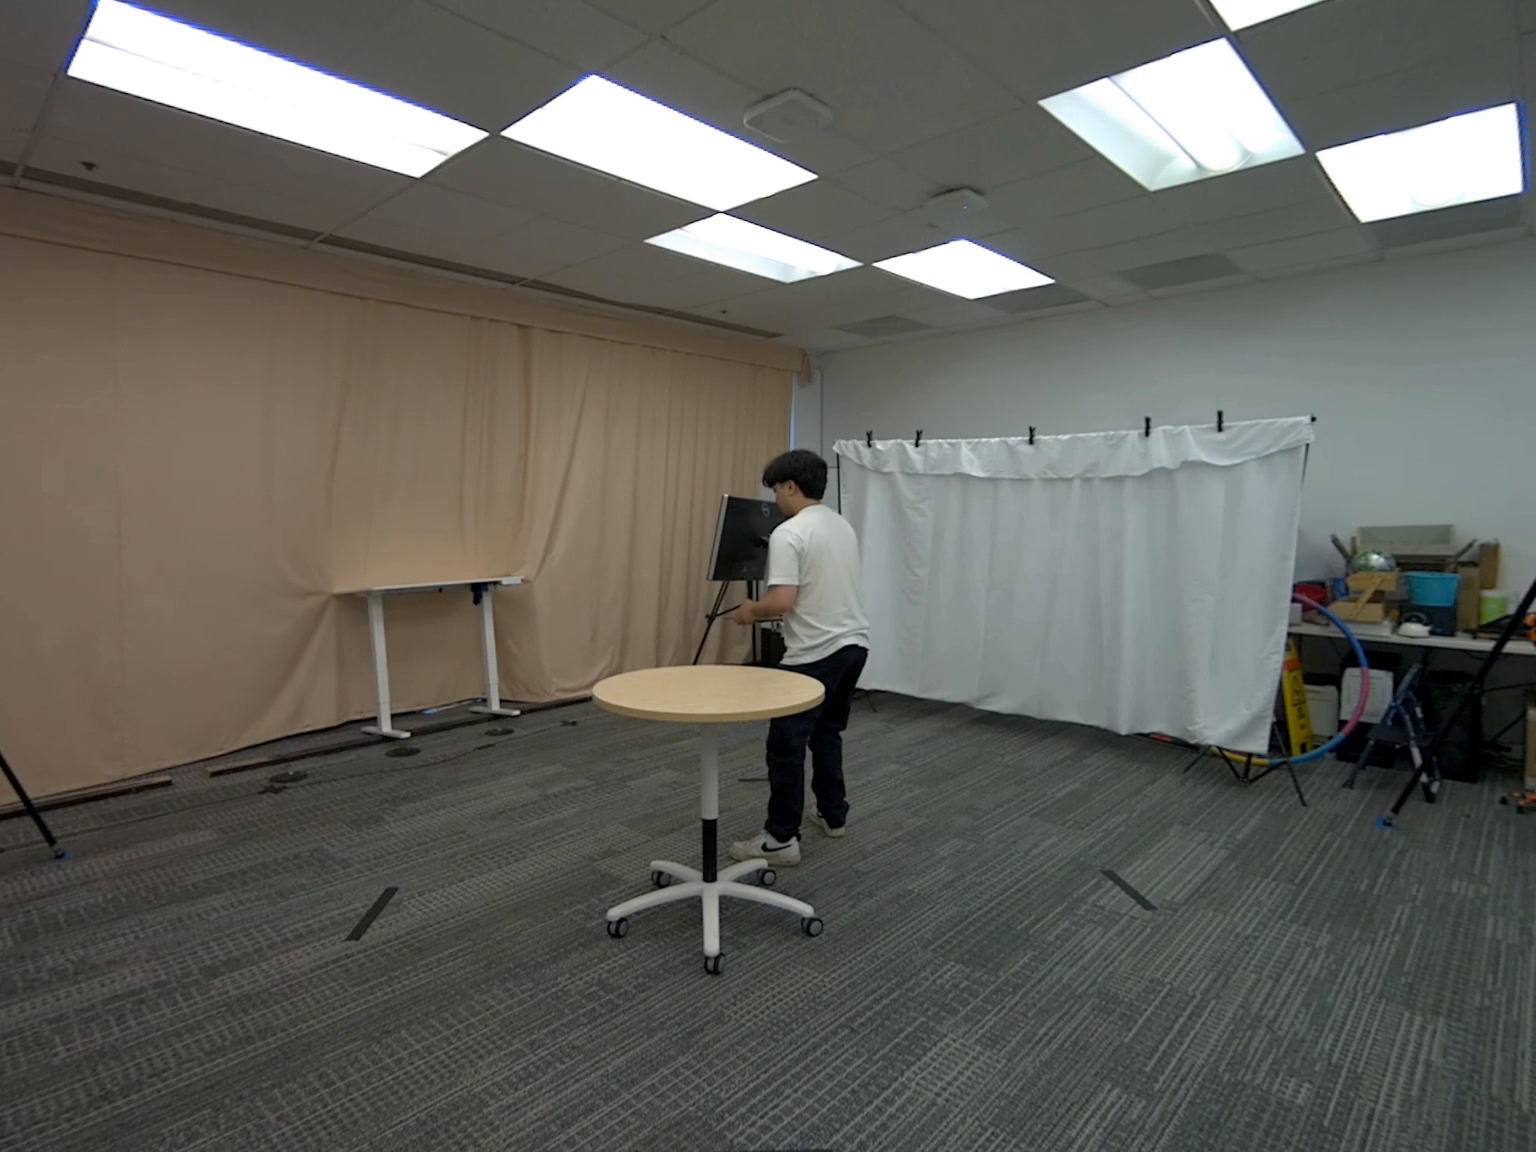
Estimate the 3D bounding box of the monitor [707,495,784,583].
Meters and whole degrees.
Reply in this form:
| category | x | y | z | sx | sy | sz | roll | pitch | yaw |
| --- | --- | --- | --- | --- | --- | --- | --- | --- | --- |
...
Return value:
| category | x | y | z | sx | sy | sz | roll | pitch | yaw |
| --- | --- | --- | --- | --- | --- | --- | --- | --- | --- |
| monitor | -0.010 | -0.060 | 3.657 | 0.217 | 0.553 | 0.548 | 7 | 3 | 34 |
